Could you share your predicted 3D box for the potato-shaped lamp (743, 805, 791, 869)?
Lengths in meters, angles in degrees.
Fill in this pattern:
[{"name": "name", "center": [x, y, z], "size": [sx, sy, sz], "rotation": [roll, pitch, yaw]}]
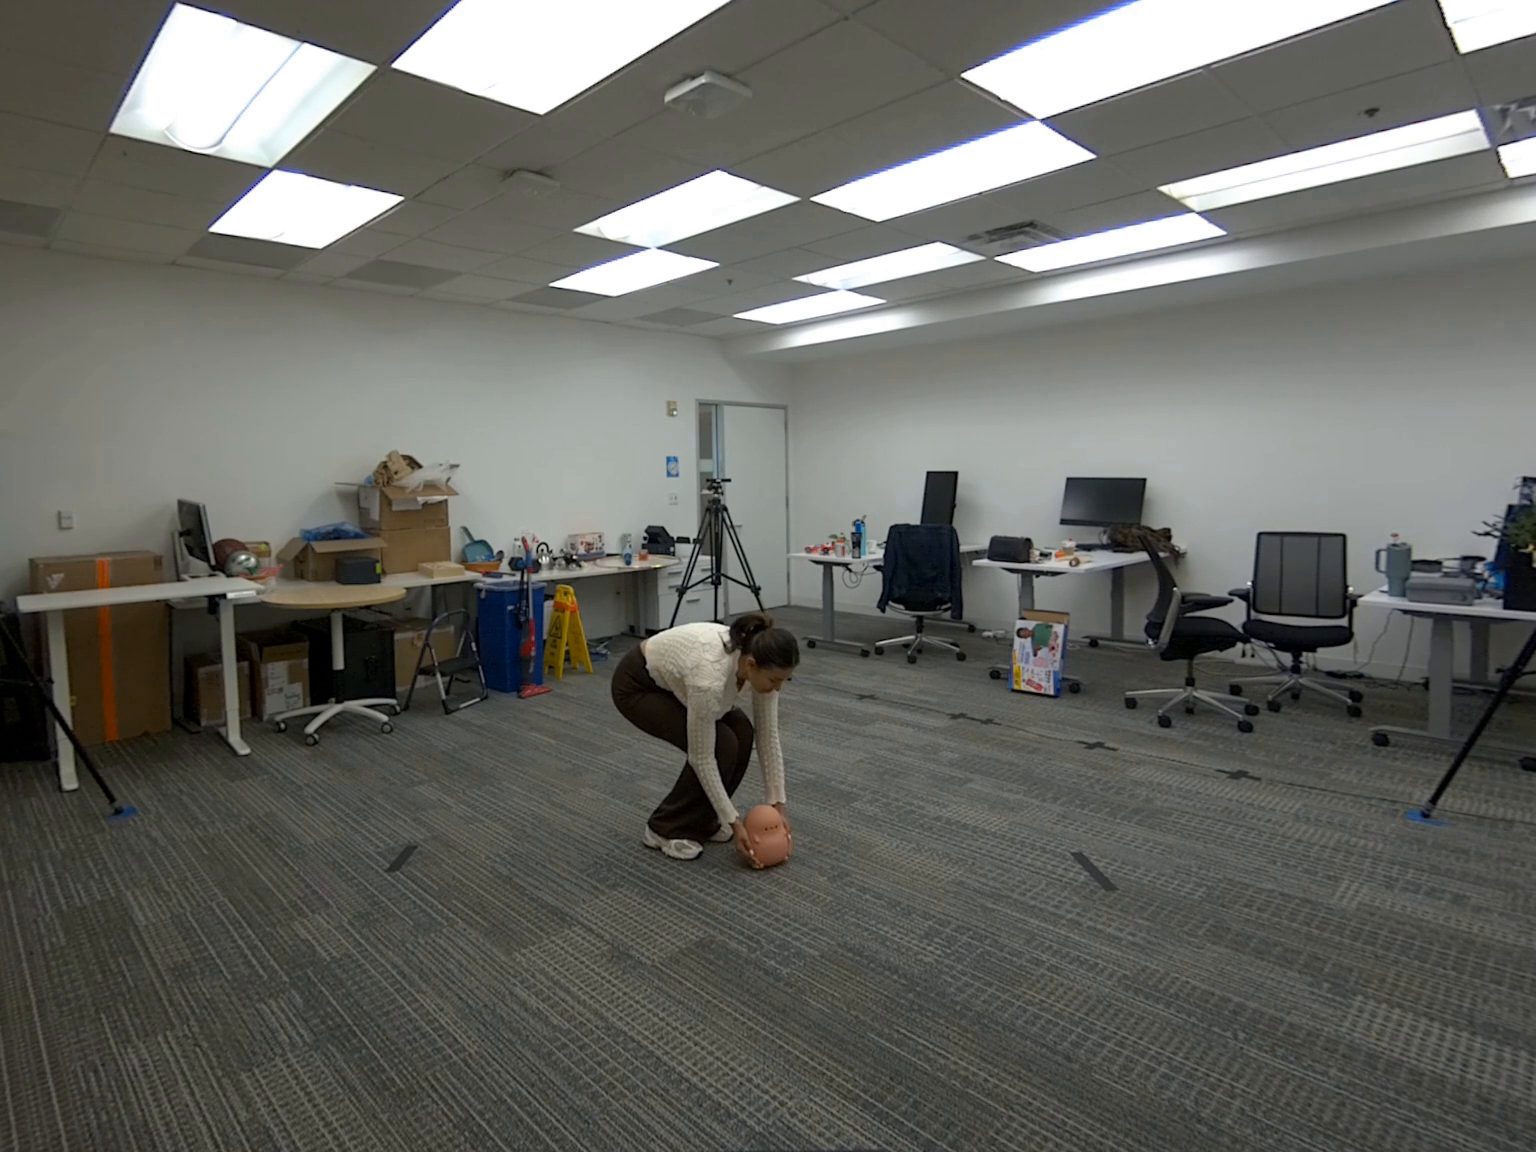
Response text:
[{"name": "potato-shaped lamp", "center": [-0.014, 0.921, 3.111], "size": [0.162, 0.198, 0.175], "rotation": [-4, 2, -22]}]
